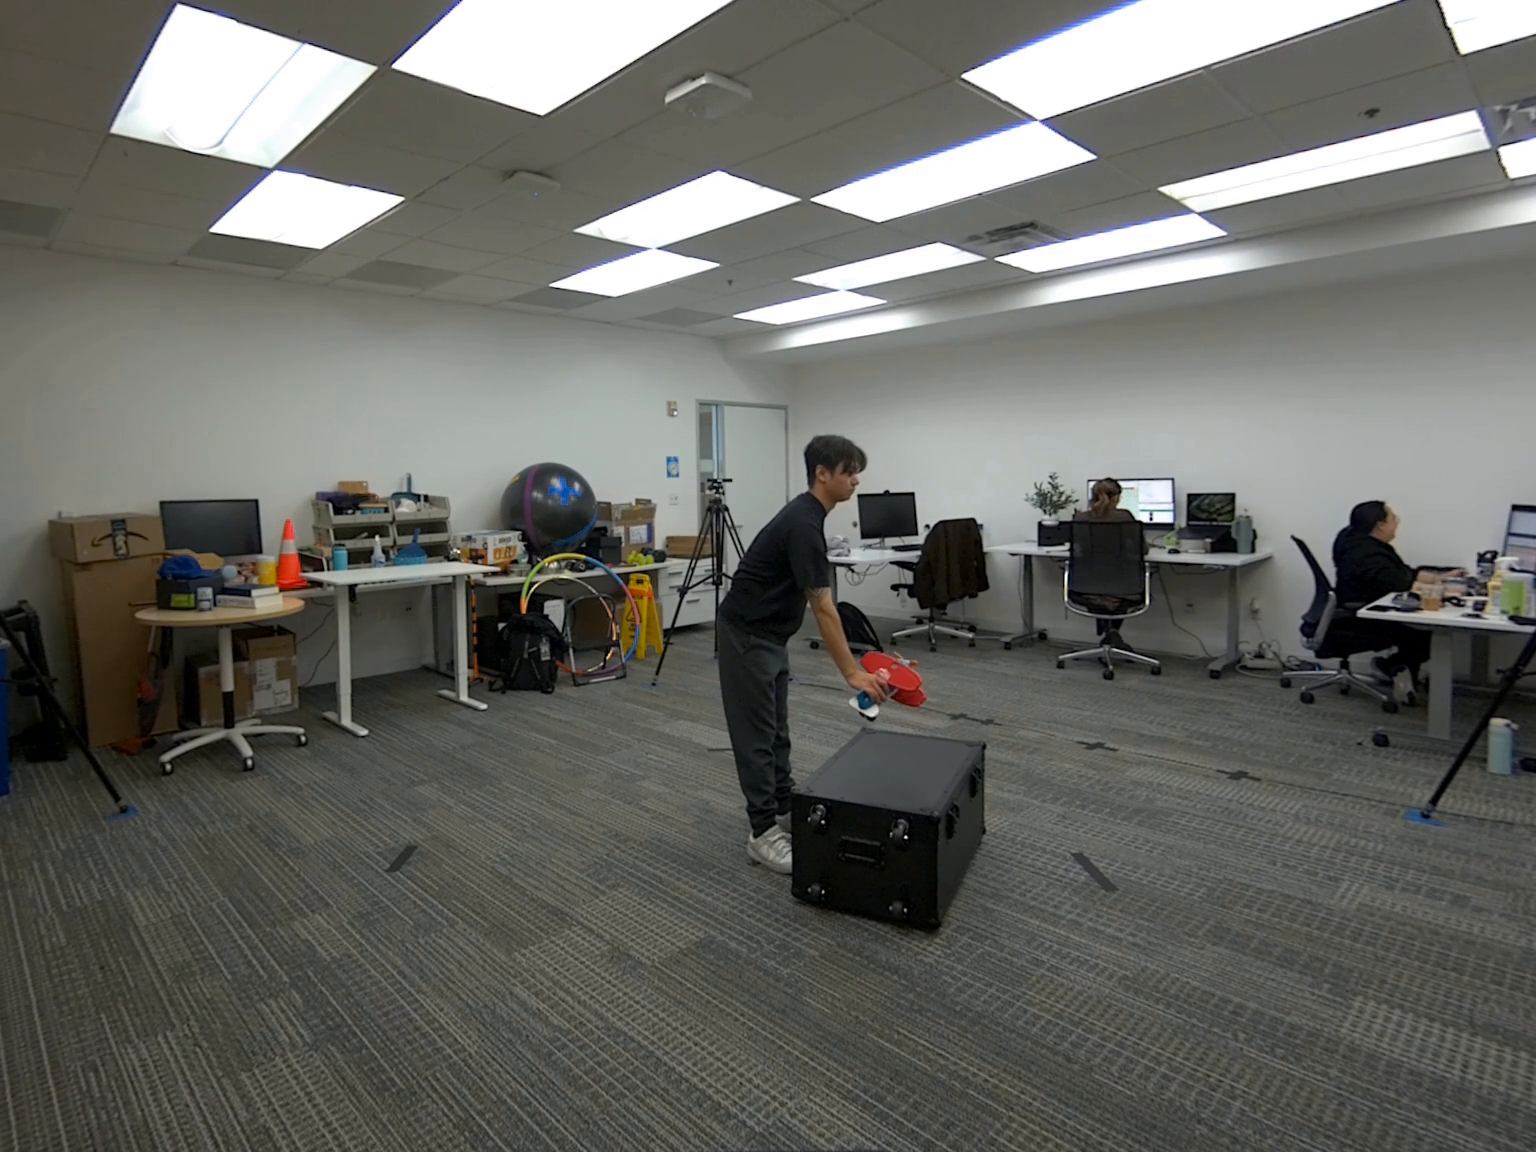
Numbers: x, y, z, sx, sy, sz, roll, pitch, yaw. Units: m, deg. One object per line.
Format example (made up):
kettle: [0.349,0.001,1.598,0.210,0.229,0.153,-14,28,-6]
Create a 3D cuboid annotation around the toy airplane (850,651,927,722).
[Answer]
toy airplane: [0.431,0.396,2.974,0.257,0.153,0.259,6,29,24]
